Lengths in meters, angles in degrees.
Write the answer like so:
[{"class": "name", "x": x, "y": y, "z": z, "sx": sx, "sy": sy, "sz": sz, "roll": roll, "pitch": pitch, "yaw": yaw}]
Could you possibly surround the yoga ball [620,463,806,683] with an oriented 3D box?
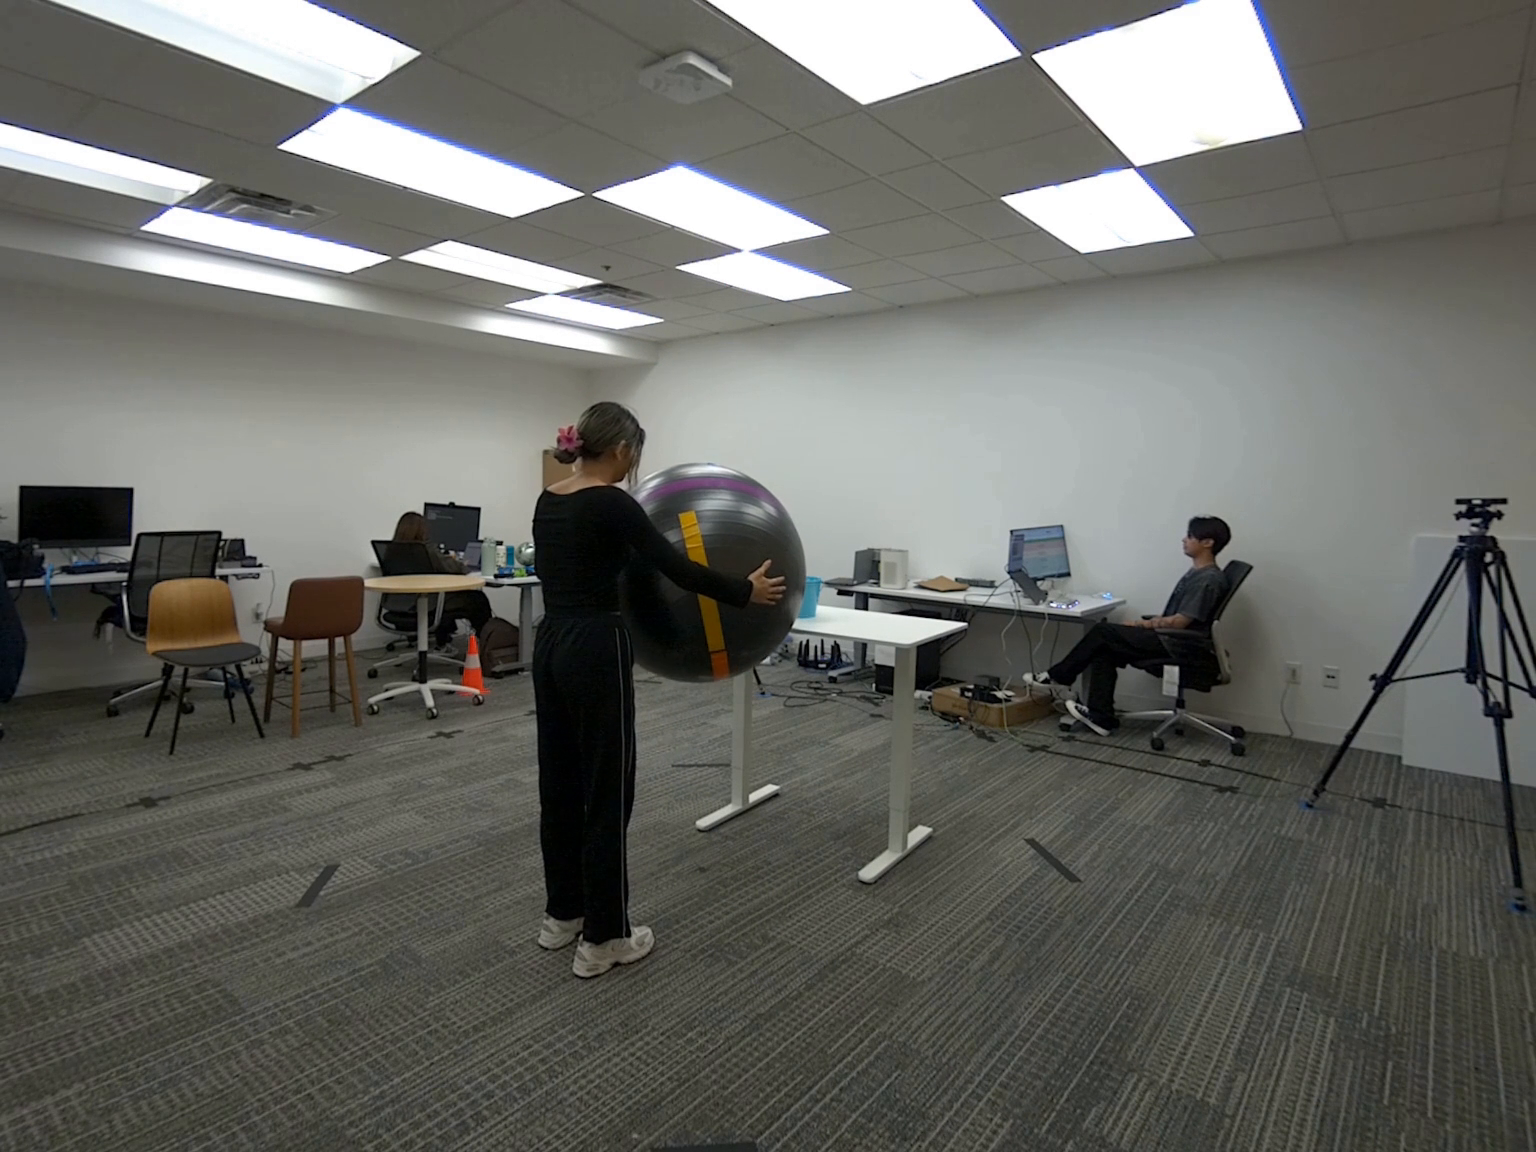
[{"class": "yoga ball", "x": -0.251, "y": -0.012, "z": 2.956, "sx": 0.757, "sy": 0.756, "sz": 0.761, "roll": 1, "pitch": 4, "yaw": -2}]
